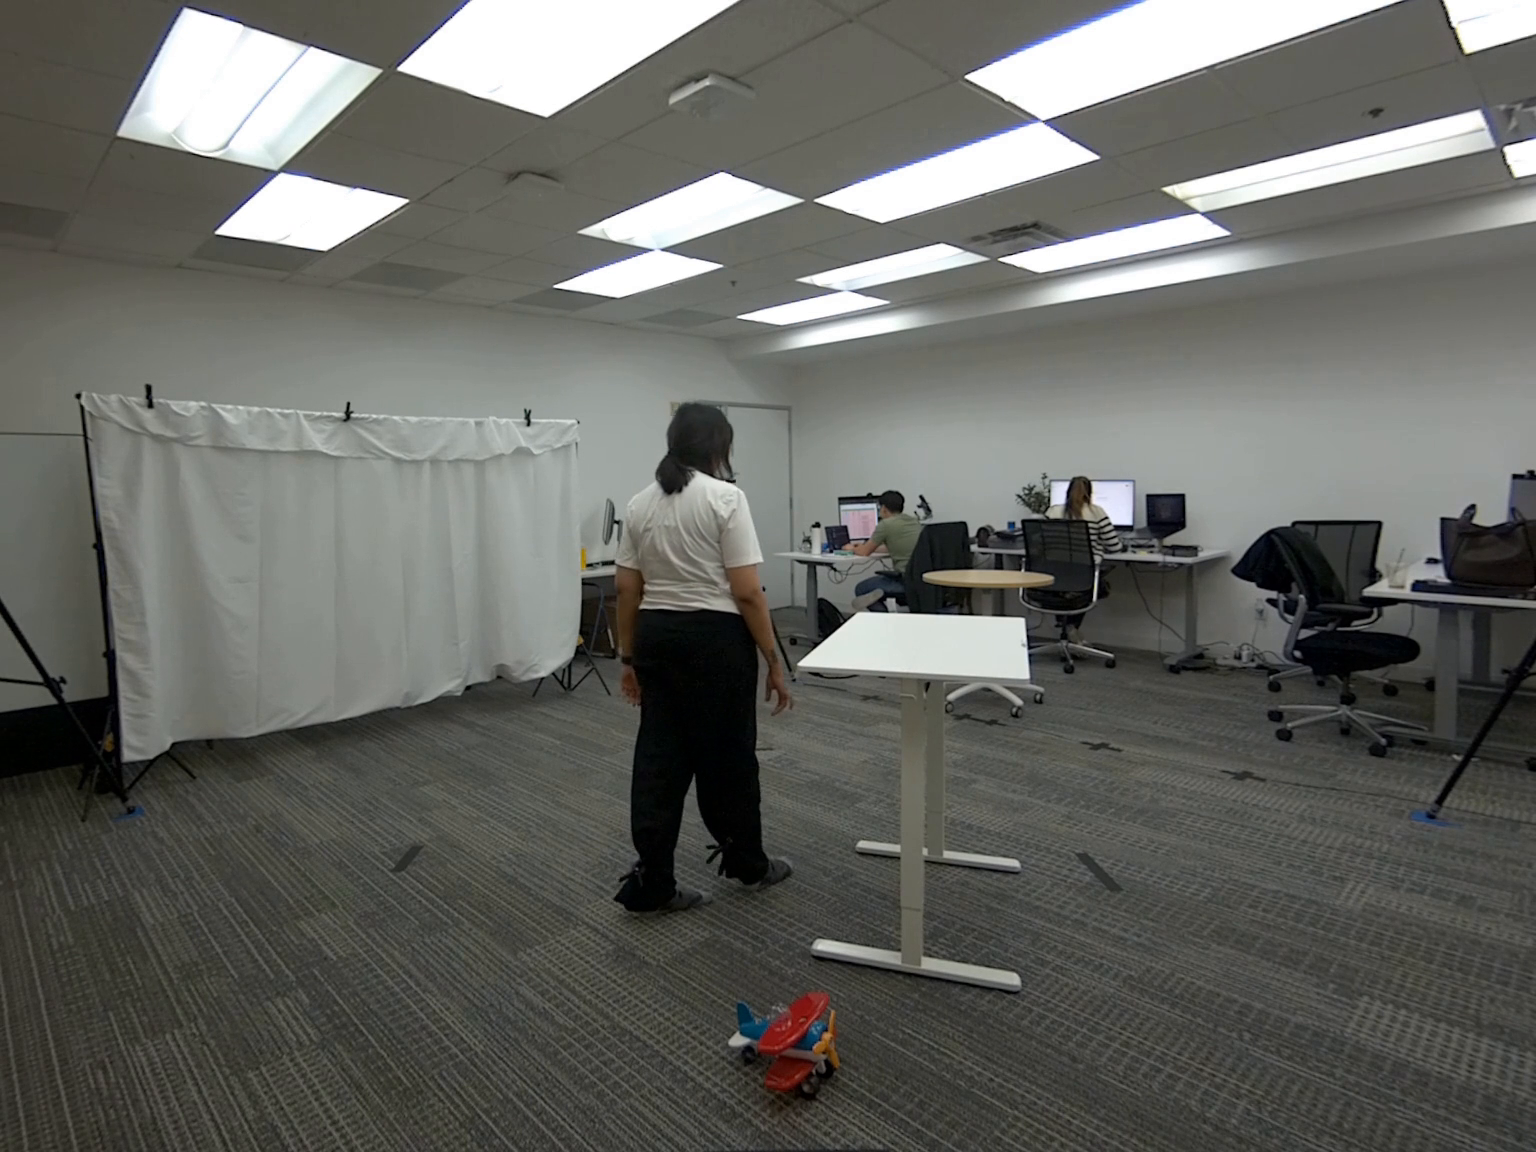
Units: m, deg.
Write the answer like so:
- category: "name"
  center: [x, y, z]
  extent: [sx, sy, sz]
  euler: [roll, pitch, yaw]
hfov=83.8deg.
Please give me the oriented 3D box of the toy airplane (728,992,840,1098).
- category: "toy airplane"
  center: [0.045, 1.105, 1.988]
  extent: [0.261, 0.155, 0.251]
  euler: [0, 7, 5]
